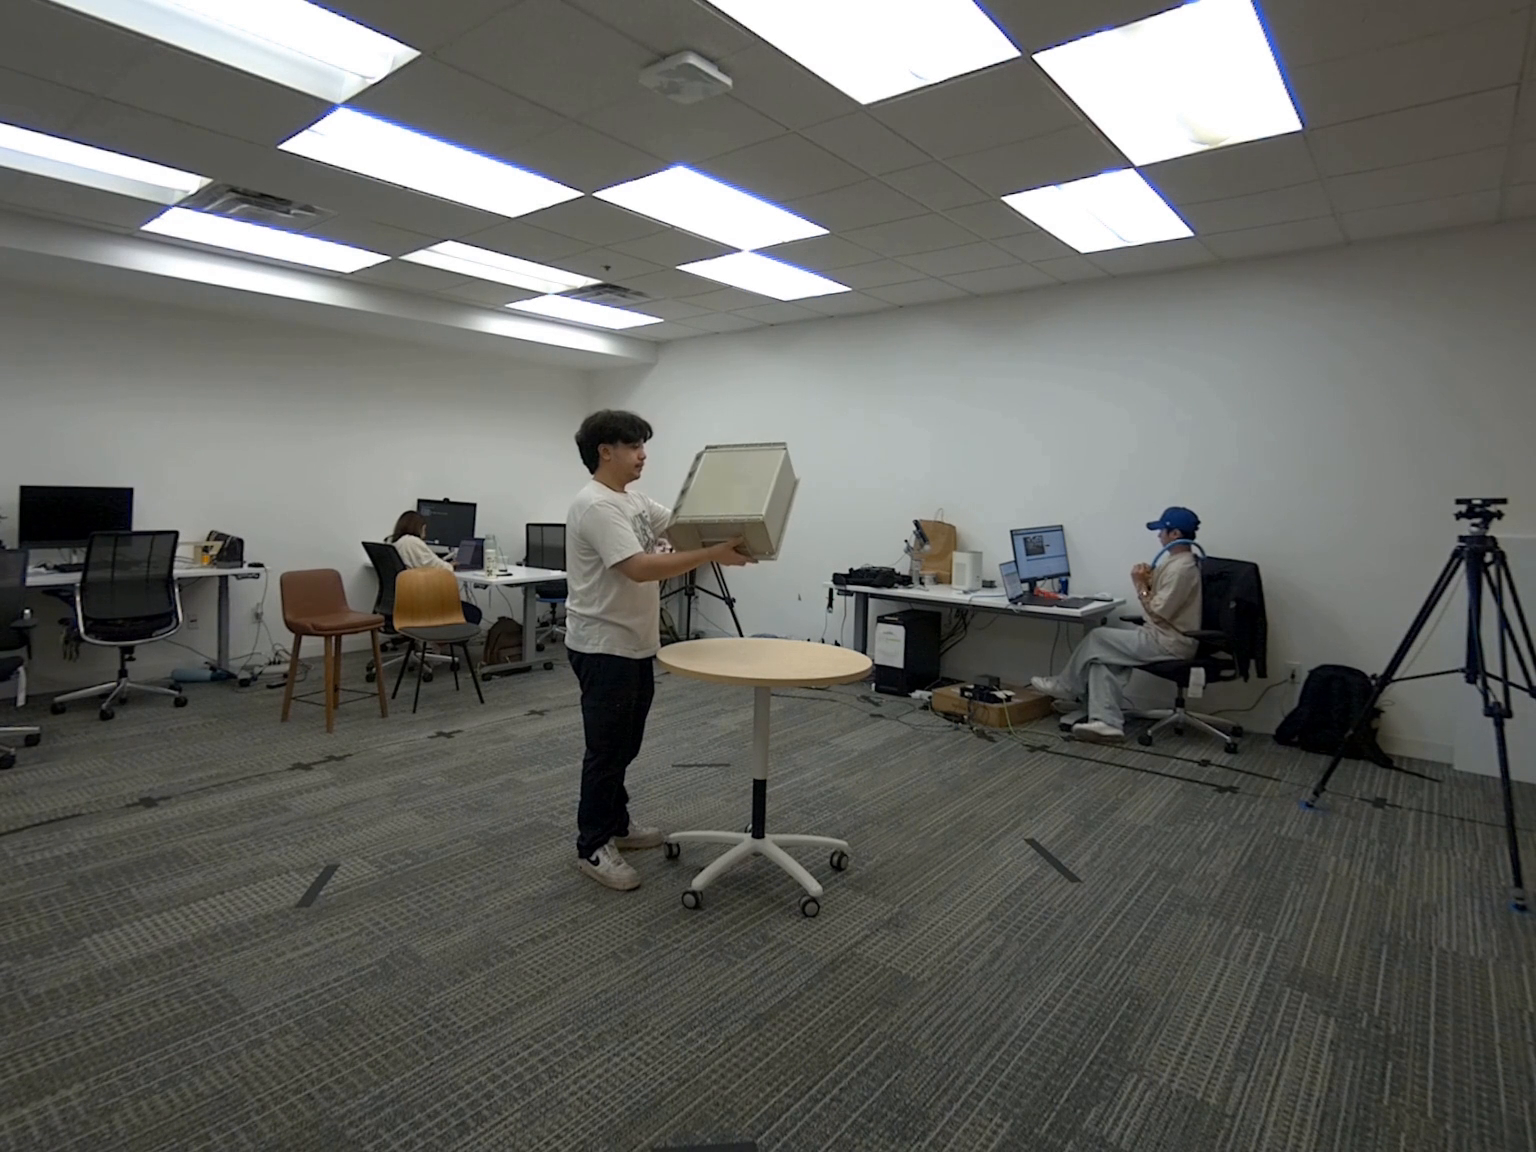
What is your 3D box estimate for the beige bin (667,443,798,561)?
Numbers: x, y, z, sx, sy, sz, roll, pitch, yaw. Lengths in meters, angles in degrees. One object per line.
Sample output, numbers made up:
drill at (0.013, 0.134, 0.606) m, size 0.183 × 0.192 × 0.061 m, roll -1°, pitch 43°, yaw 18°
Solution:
beige bin at (-0.132, -0.270, 3.011) m, size 0.385 × 0.182 × 0.429 m, roll -1°, pitch 45°, yaw 20°
